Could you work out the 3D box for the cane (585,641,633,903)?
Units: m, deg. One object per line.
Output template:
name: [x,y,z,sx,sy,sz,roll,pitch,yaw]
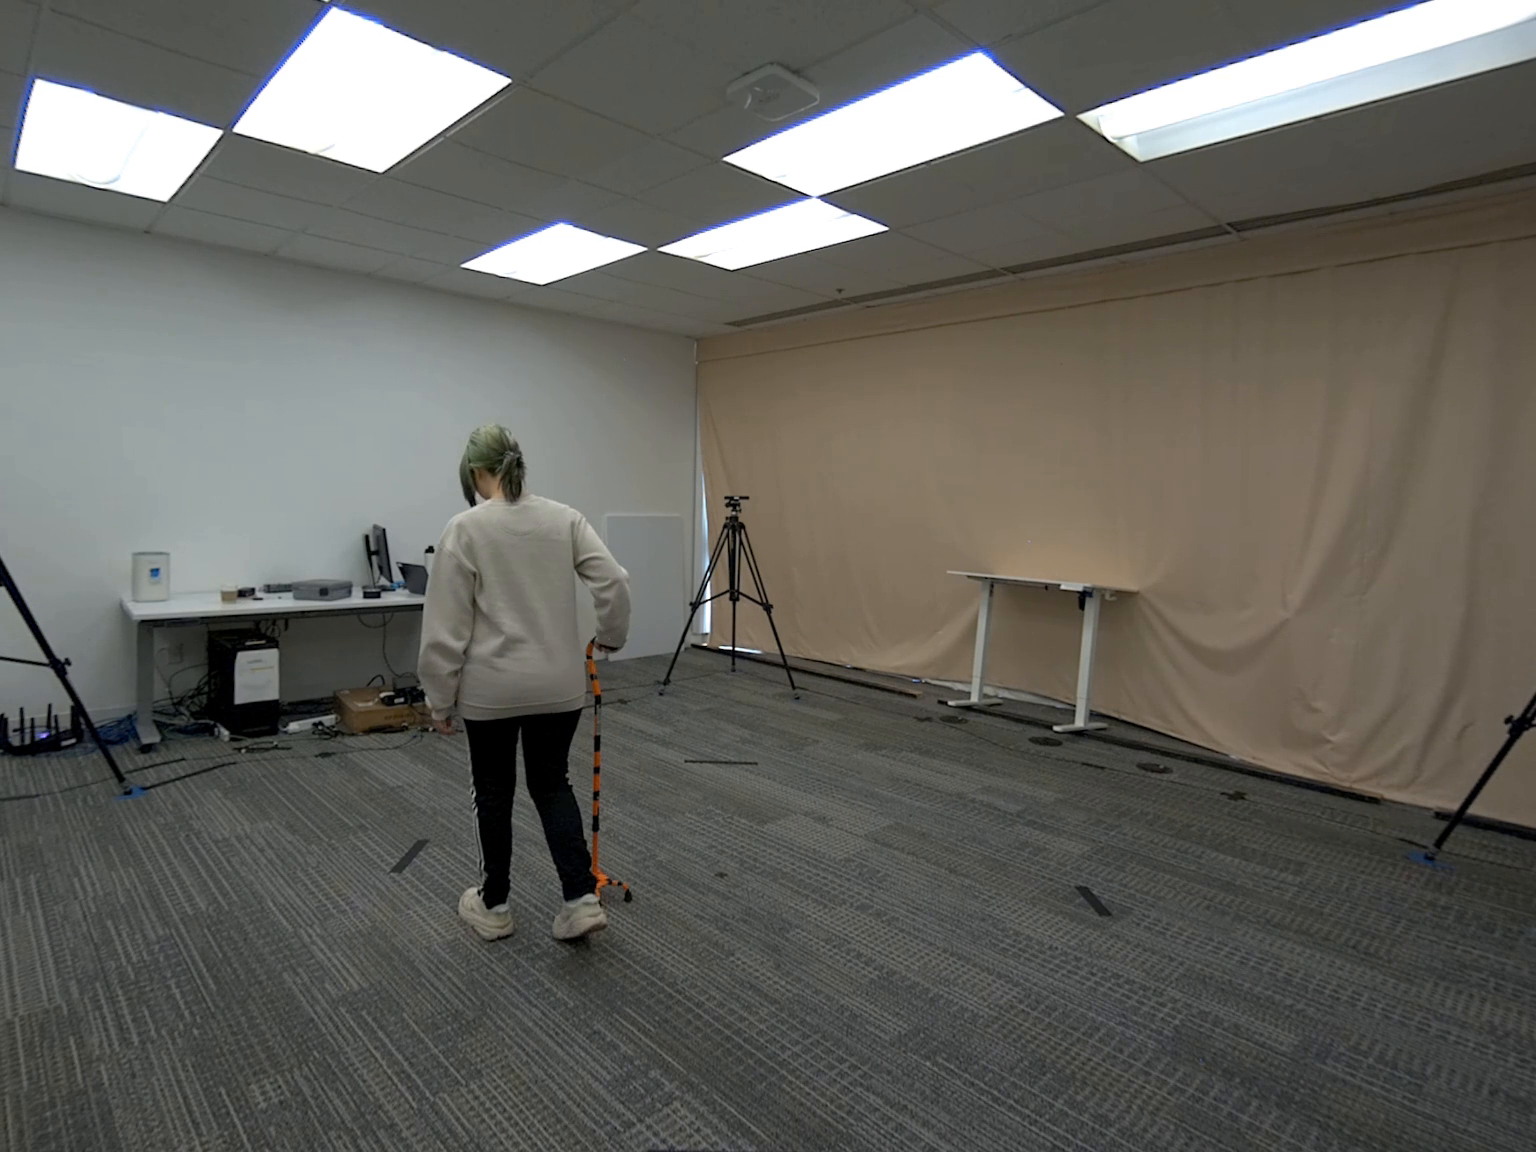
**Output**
cane: [-0.580,0.661,2.891,0.148,0.906,0.212,-1,4,-40]
